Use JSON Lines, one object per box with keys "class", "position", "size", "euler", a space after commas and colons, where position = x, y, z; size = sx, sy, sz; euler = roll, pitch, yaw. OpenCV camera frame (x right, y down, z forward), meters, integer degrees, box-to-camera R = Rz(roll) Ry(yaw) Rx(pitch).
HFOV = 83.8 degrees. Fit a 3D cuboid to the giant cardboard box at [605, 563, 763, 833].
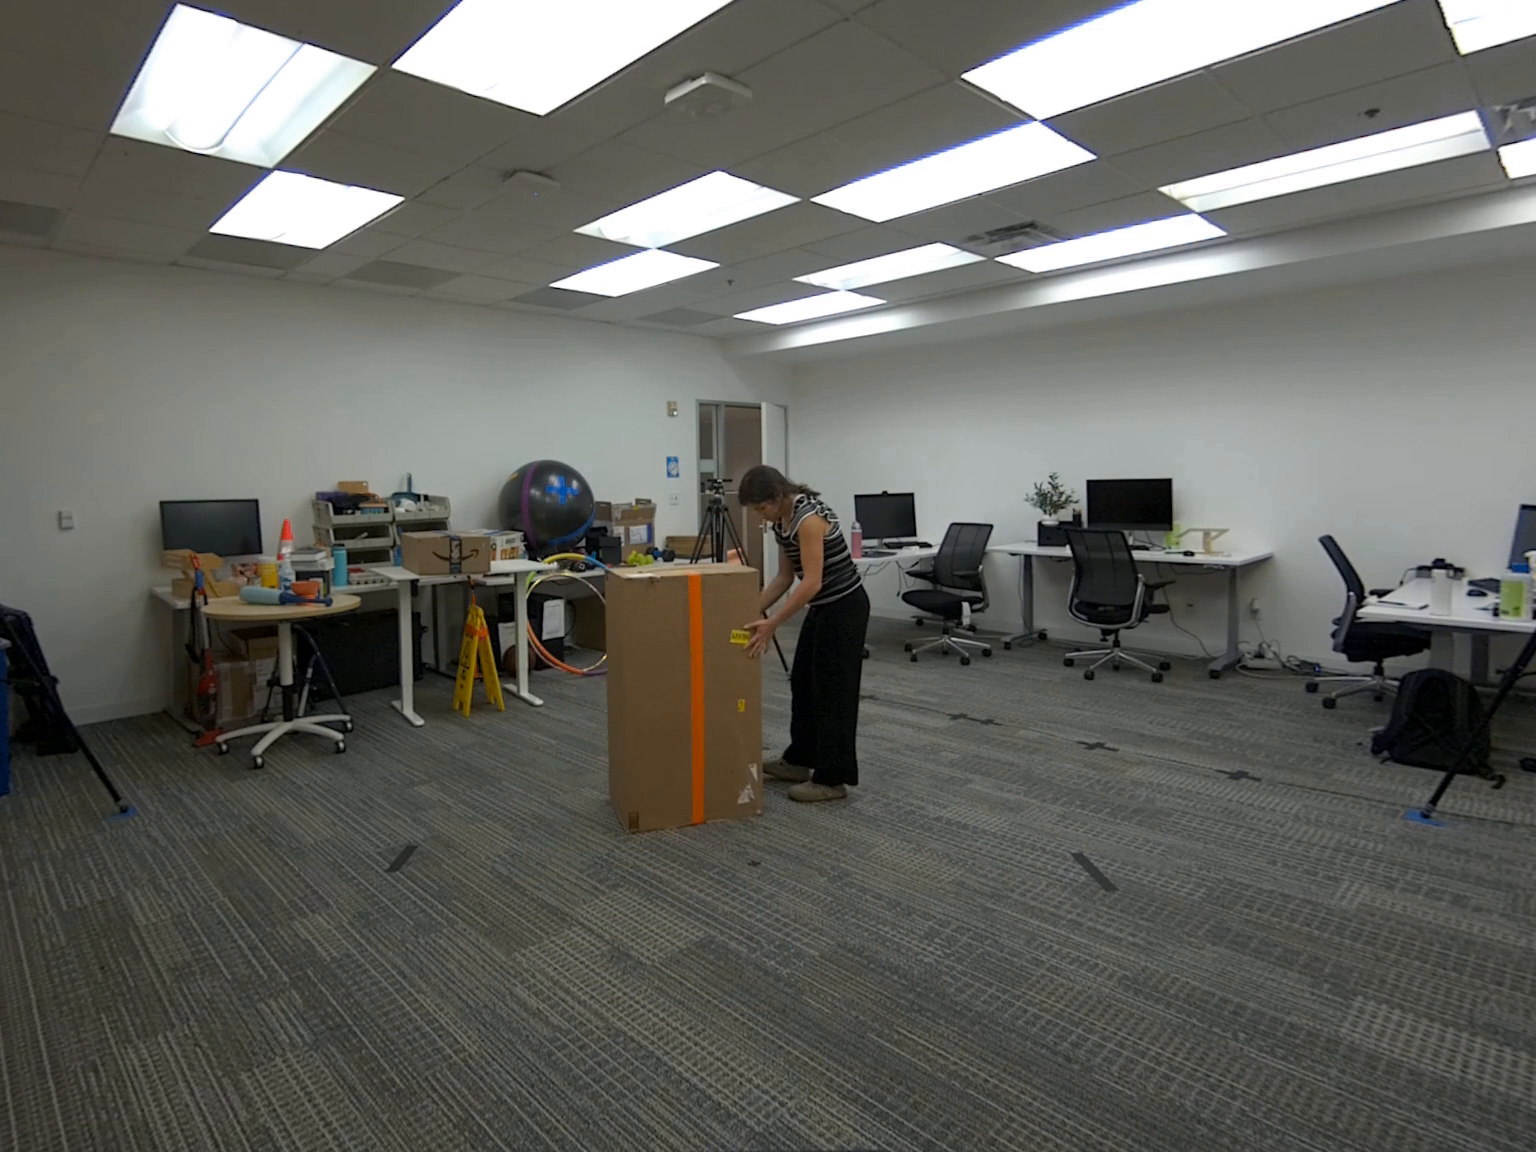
{"class": "giant cardboard box", "position": [-0.374, 0.480, 3.632], "size": [0.567, 1.022, 0.435], "euler": [-2, 4, -20]}
